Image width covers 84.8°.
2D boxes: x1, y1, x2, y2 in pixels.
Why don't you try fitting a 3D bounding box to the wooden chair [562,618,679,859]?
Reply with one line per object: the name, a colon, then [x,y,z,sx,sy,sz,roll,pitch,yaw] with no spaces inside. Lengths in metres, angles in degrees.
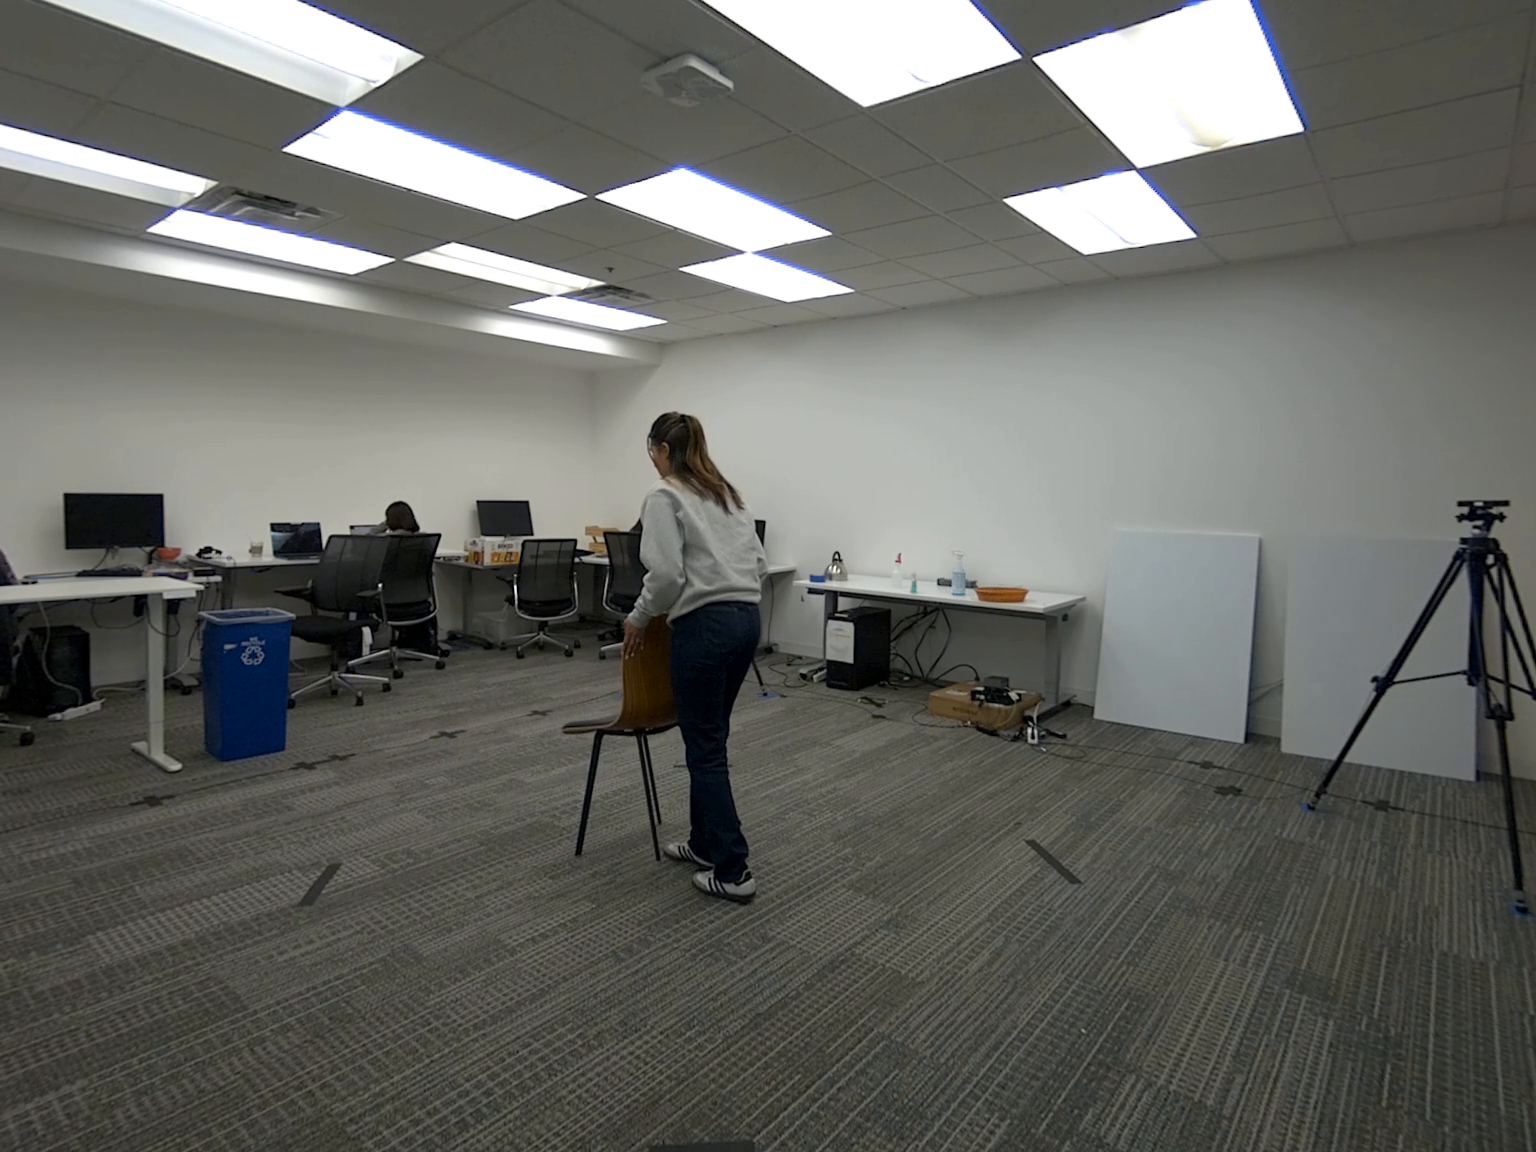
wooden chair: [-0.512,0.585,3.277,0.537,0.881,0.464,-9,-4,39]
